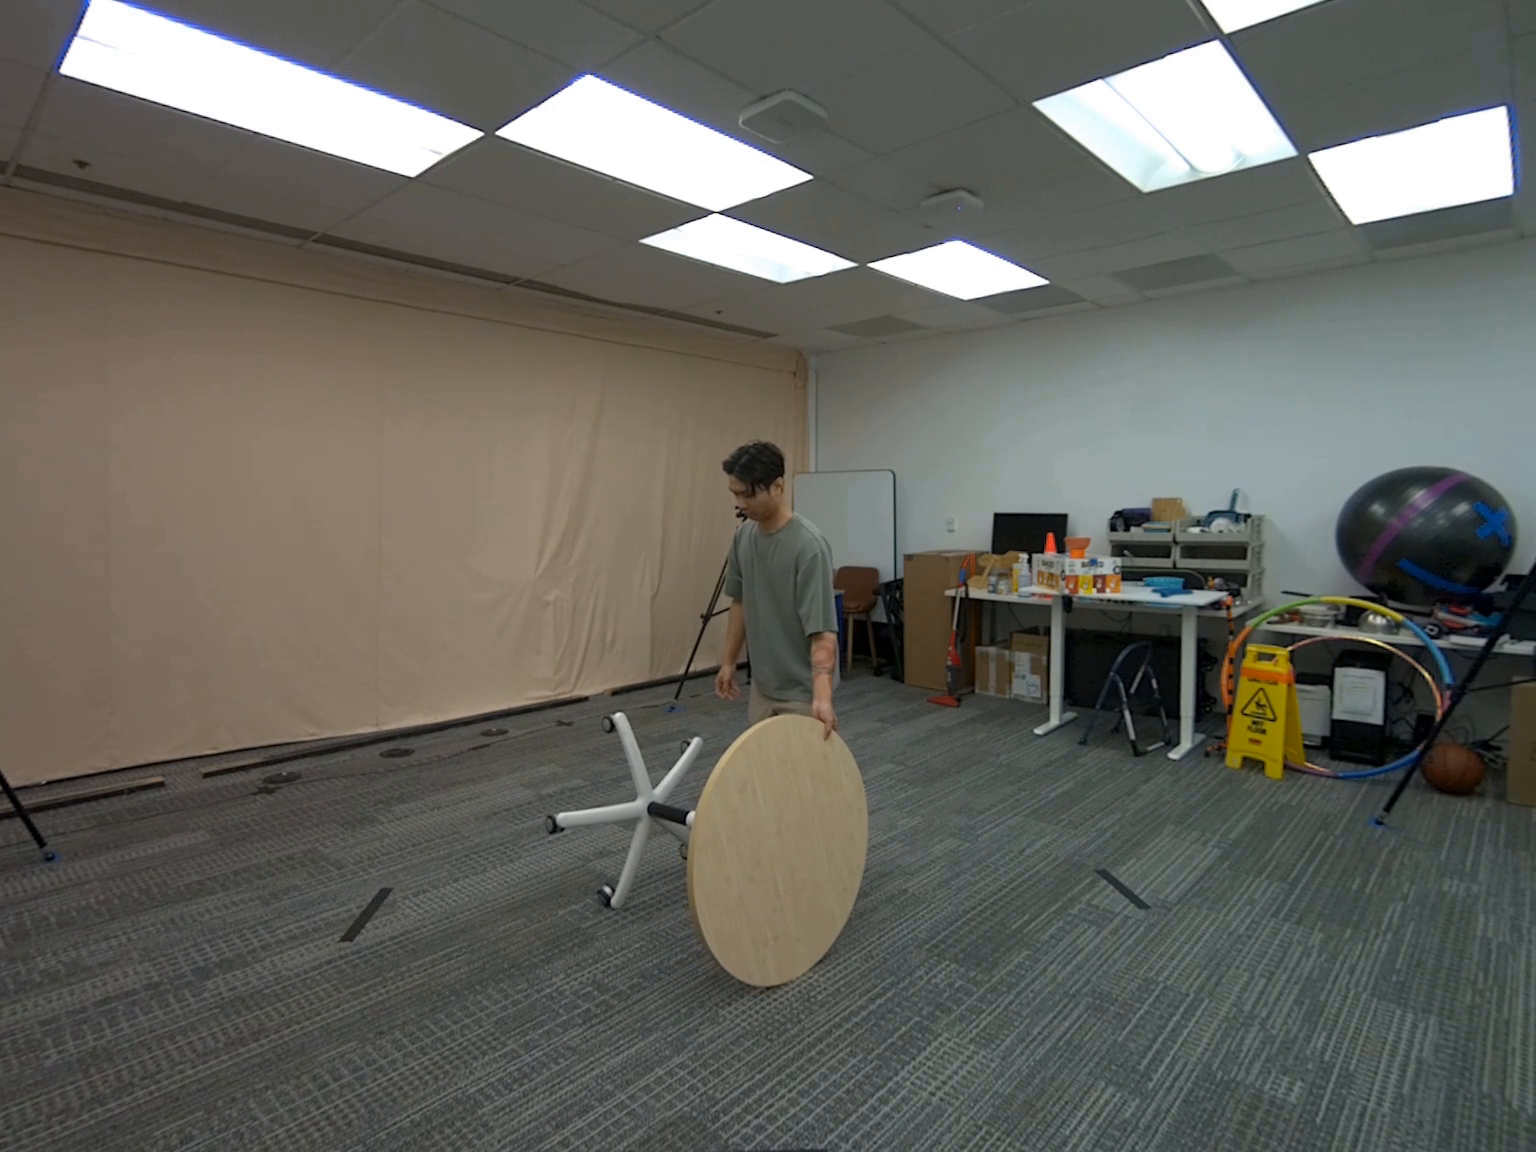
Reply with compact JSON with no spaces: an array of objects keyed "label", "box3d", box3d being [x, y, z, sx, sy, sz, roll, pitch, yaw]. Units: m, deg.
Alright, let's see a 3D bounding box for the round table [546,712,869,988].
[{"label":"round table","box3d":[-0.225,0.818,2.779,0.761,0.785,0.810,-4,0,-45]}]
